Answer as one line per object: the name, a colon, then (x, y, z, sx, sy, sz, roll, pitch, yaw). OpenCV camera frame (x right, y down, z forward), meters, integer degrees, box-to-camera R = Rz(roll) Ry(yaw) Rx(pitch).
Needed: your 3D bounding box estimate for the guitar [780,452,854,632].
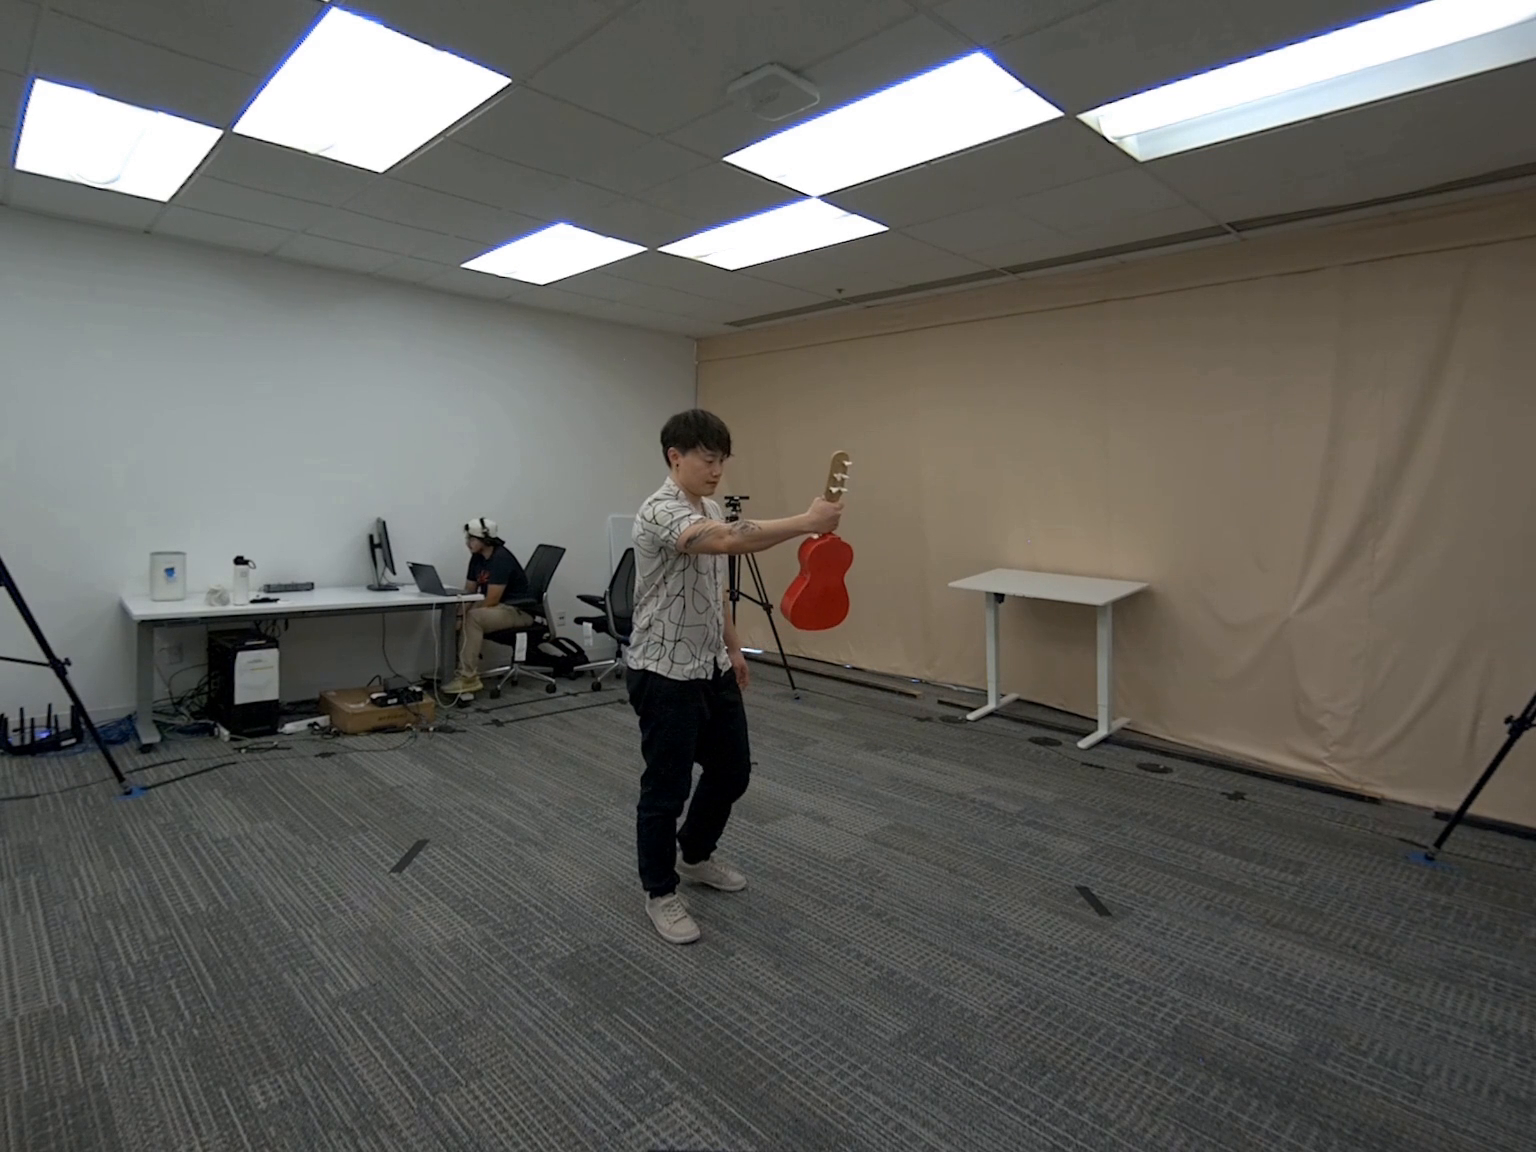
guitar: (0.135, -0.085, 2.302, 0.190, 0.491, 0.073, -9, 23, -25)
